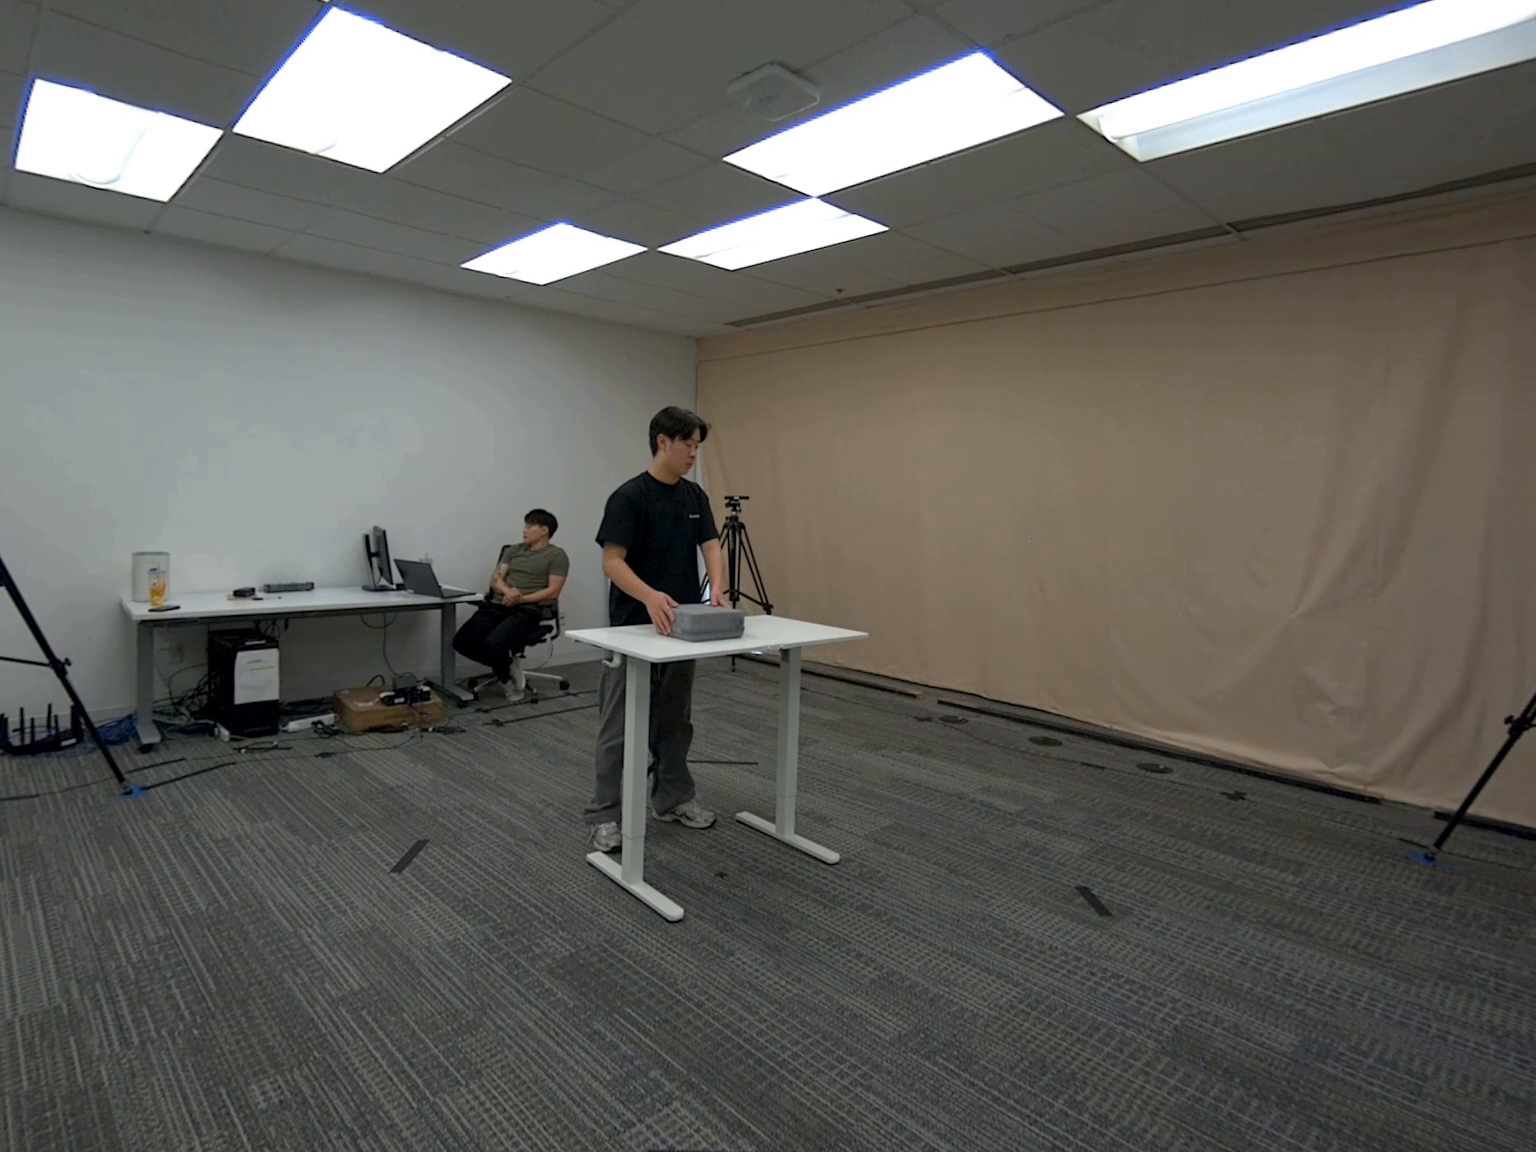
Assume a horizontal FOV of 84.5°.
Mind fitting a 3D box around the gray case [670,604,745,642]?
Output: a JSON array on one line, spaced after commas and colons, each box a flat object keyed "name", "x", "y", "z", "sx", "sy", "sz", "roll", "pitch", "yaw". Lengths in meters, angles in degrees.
[{"name": "gray case", "x": -0.245, "y": 0.170, "z": 3.087, "sx": 0.281, "sy": 0.103, "sz": 0.270, "roll": -2, "pitch": 6, "yaw": -40}]
